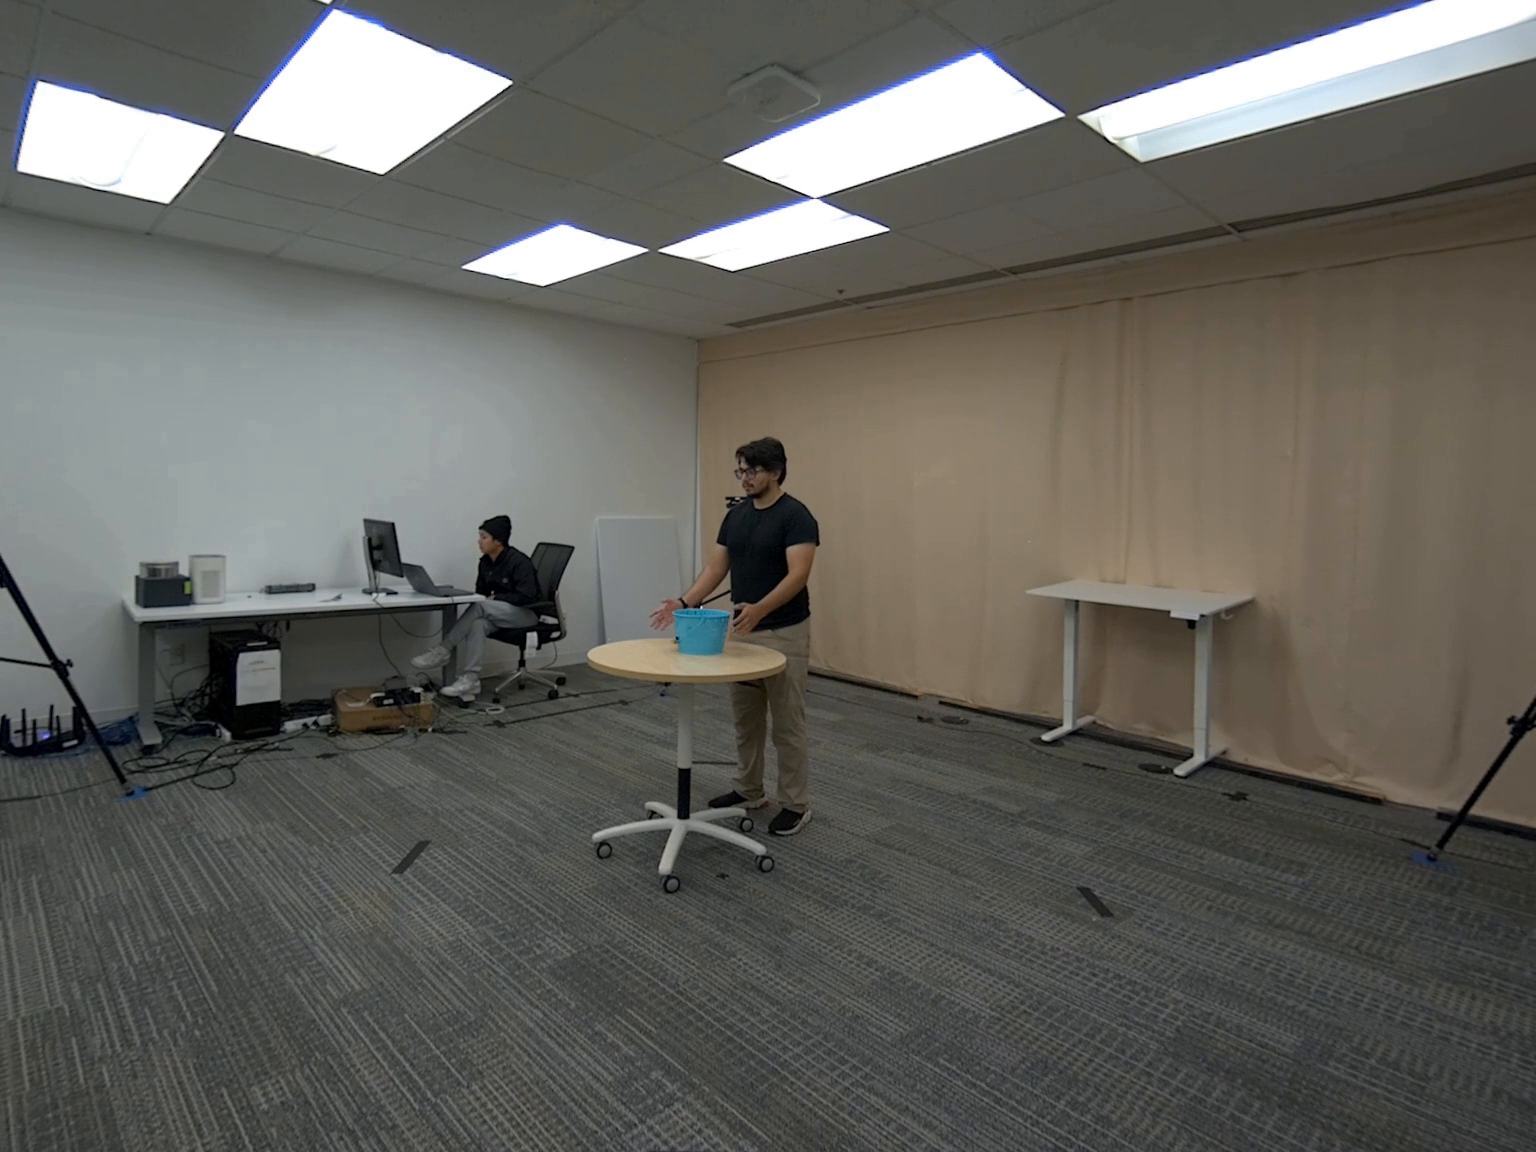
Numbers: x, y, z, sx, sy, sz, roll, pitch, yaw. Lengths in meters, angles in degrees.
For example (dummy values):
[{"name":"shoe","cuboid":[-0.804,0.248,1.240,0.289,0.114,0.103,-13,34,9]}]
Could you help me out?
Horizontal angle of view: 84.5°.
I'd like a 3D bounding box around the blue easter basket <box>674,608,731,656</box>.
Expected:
[{"name":"blue easter basket","cuboid":[-0.281,0.225,3.355,0.243,0.155,0.244,1,4,-1]}]
